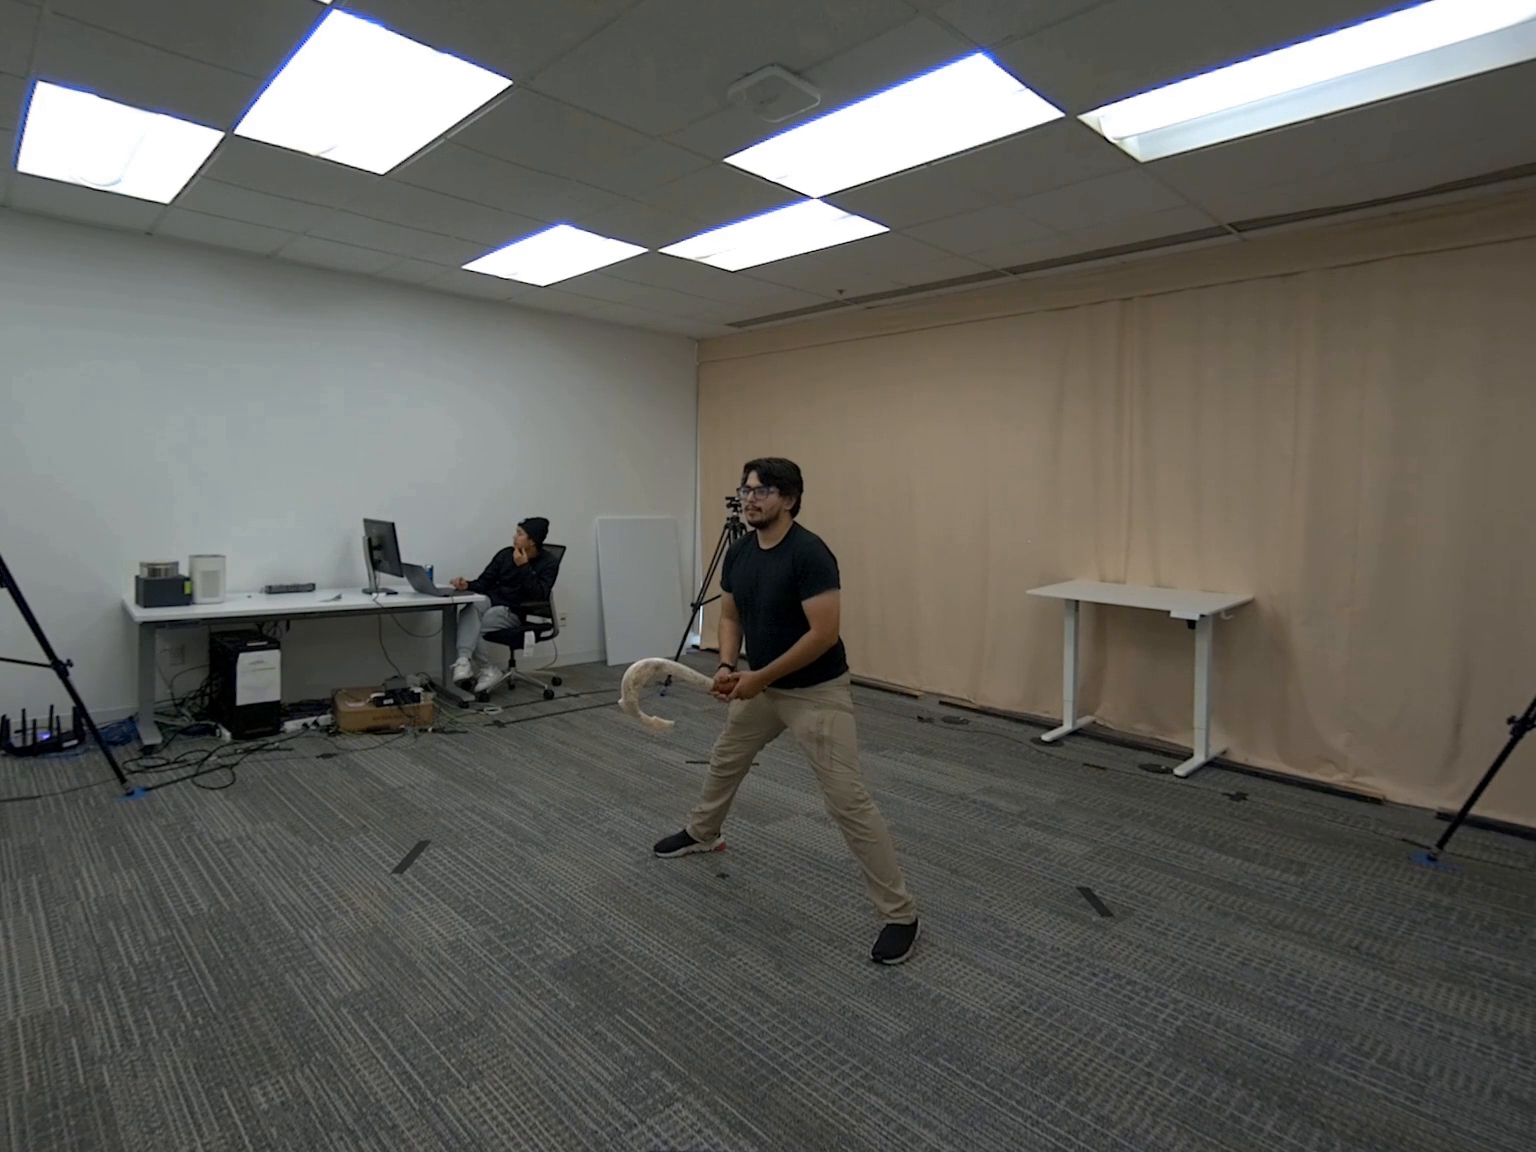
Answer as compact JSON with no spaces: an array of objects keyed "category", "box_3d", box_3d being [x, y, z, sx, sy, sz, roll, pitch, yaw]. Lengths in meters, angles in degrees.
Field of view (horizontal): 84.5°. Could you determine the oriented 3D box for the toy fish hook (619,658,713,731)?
[{"category":"toy fish hook","box_3d":[-0.246,0.402,2.775,0.497,0.224,0.049,11,0,-21]}]
